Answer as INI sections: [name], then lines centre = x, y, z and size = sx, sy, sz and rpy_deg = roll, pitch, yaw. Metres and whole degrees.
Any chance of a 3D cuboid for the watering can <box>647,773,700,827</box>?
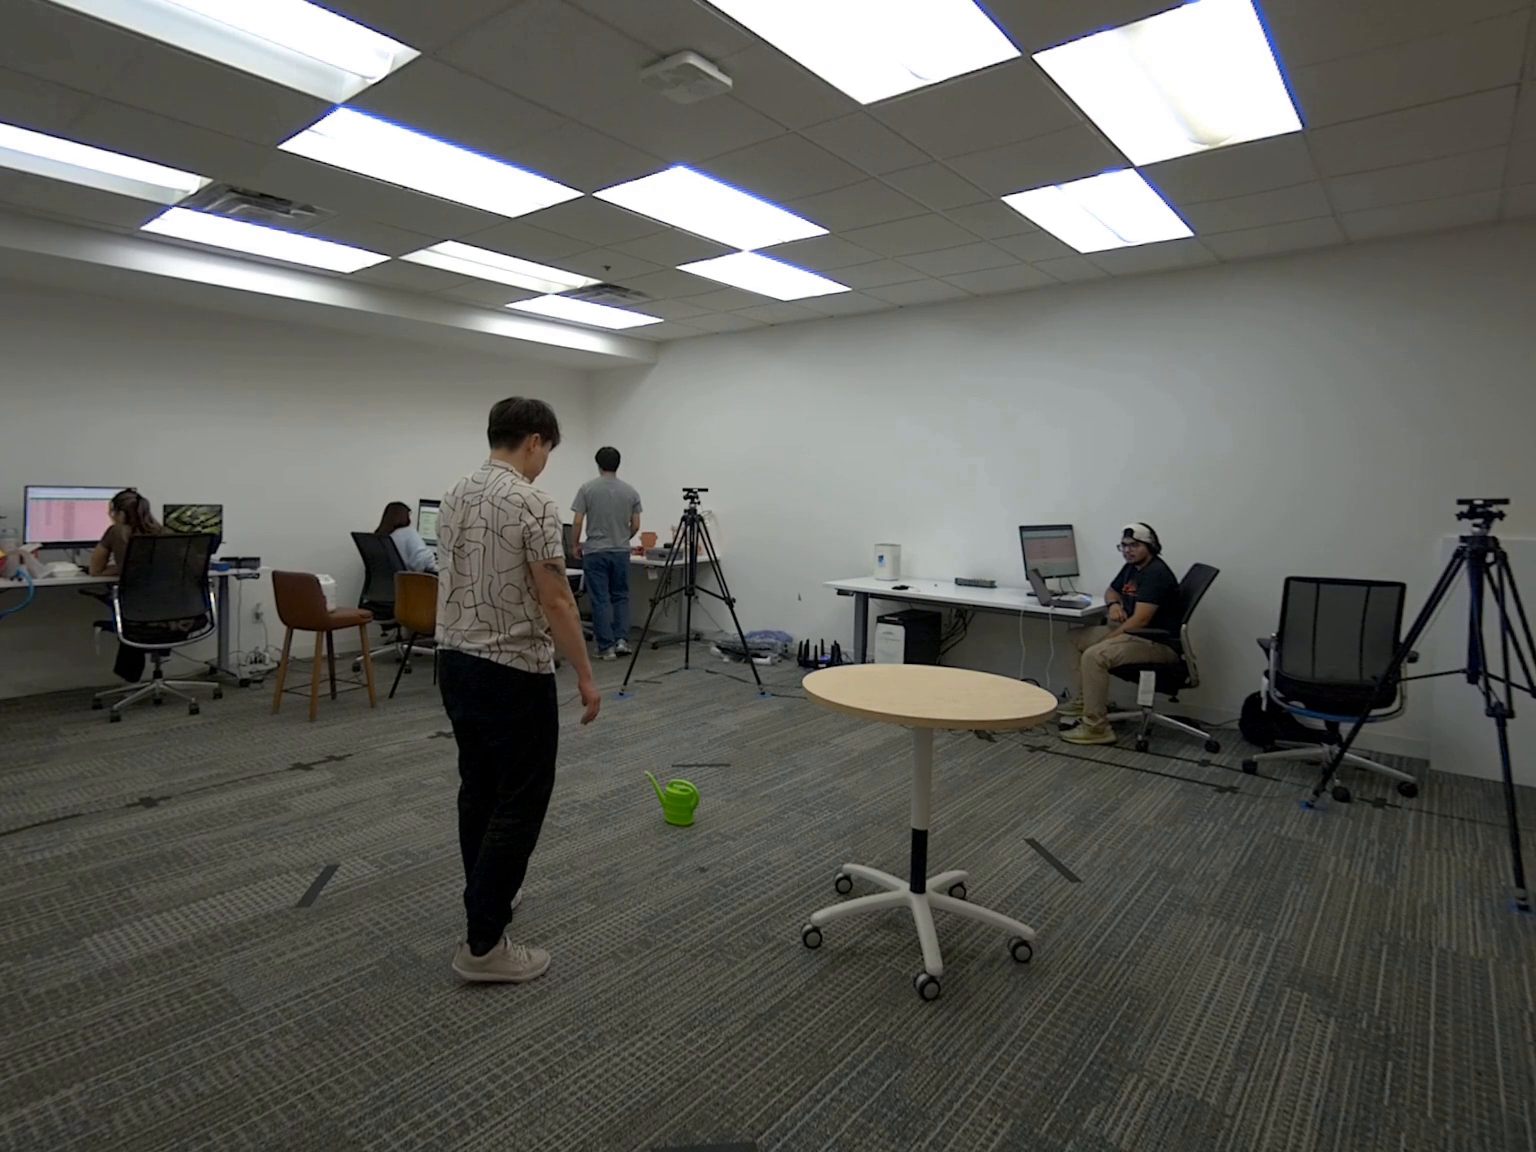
[watering can]
centre = -0.416, 0.925, 3.581
size = 0.288, 0.176, 0.095
rpy_deg = 8, 8, 43
